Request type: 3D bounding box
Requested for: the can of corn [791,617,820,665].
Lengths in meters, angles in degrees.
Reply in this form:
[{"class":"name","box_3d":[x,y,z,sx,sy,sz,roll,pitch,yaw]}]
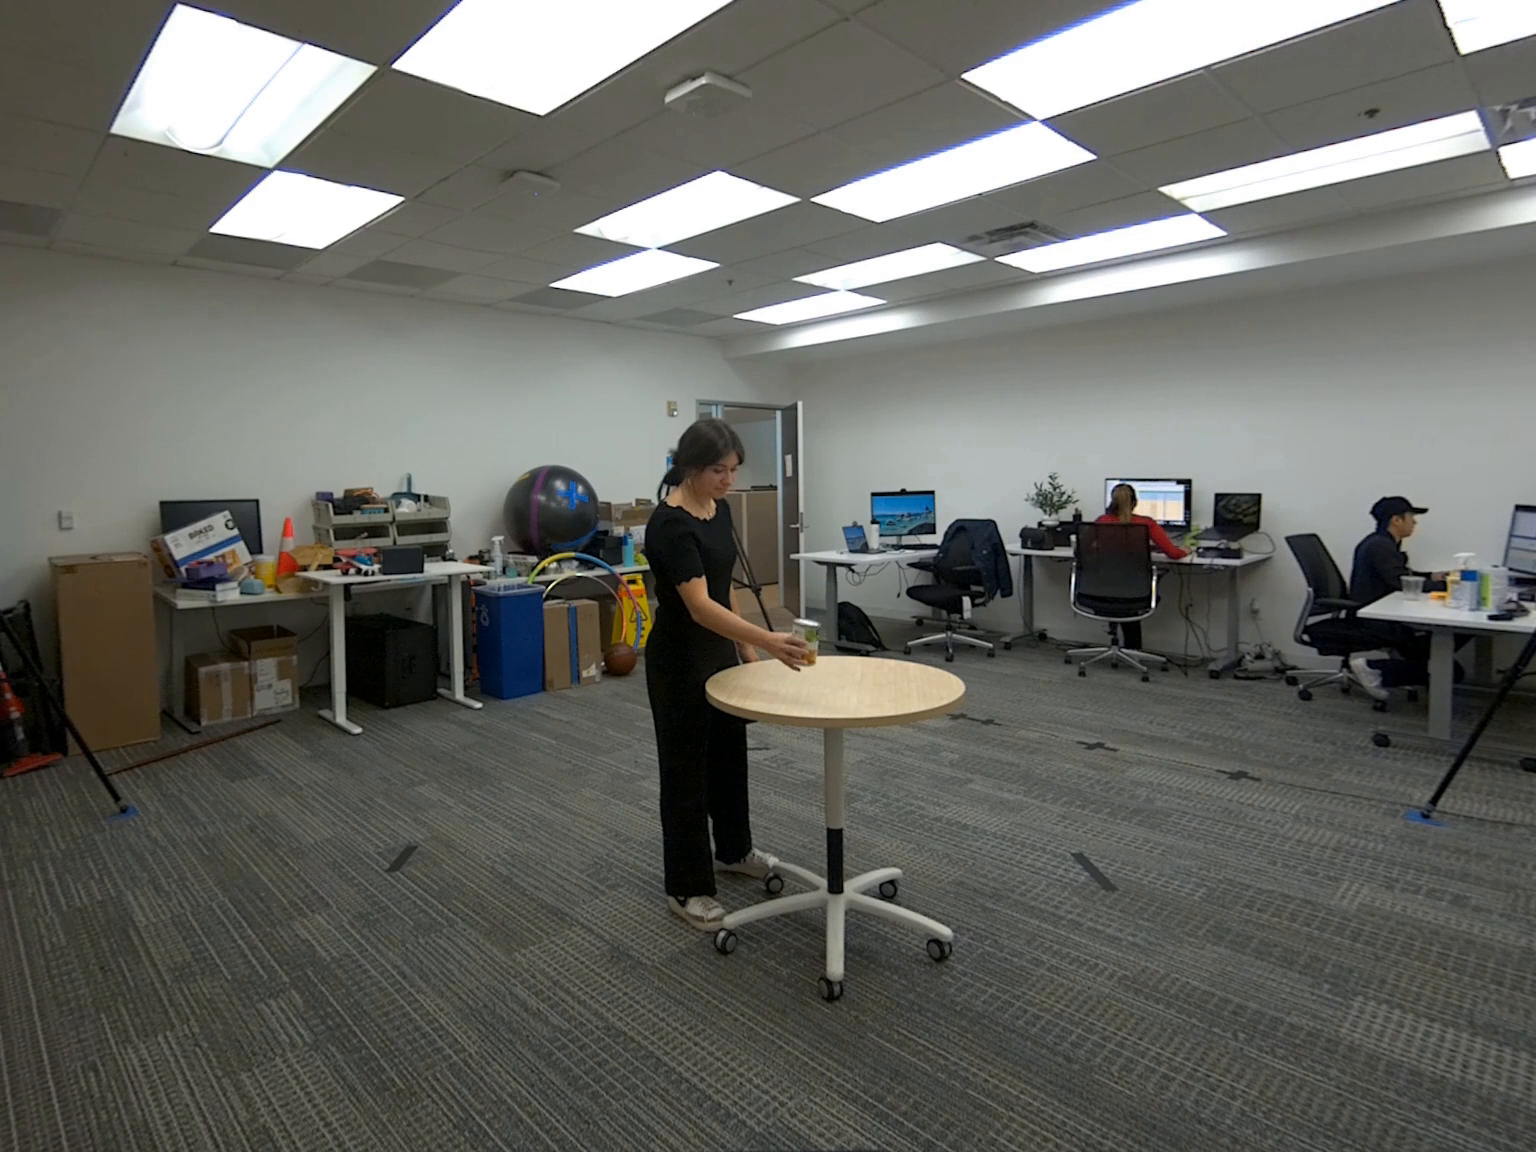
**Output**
[{"class":"can of corn","box_3d":[0.093,0.171,2.296,0.074,0.110,0.075,4,8,-2]}]
